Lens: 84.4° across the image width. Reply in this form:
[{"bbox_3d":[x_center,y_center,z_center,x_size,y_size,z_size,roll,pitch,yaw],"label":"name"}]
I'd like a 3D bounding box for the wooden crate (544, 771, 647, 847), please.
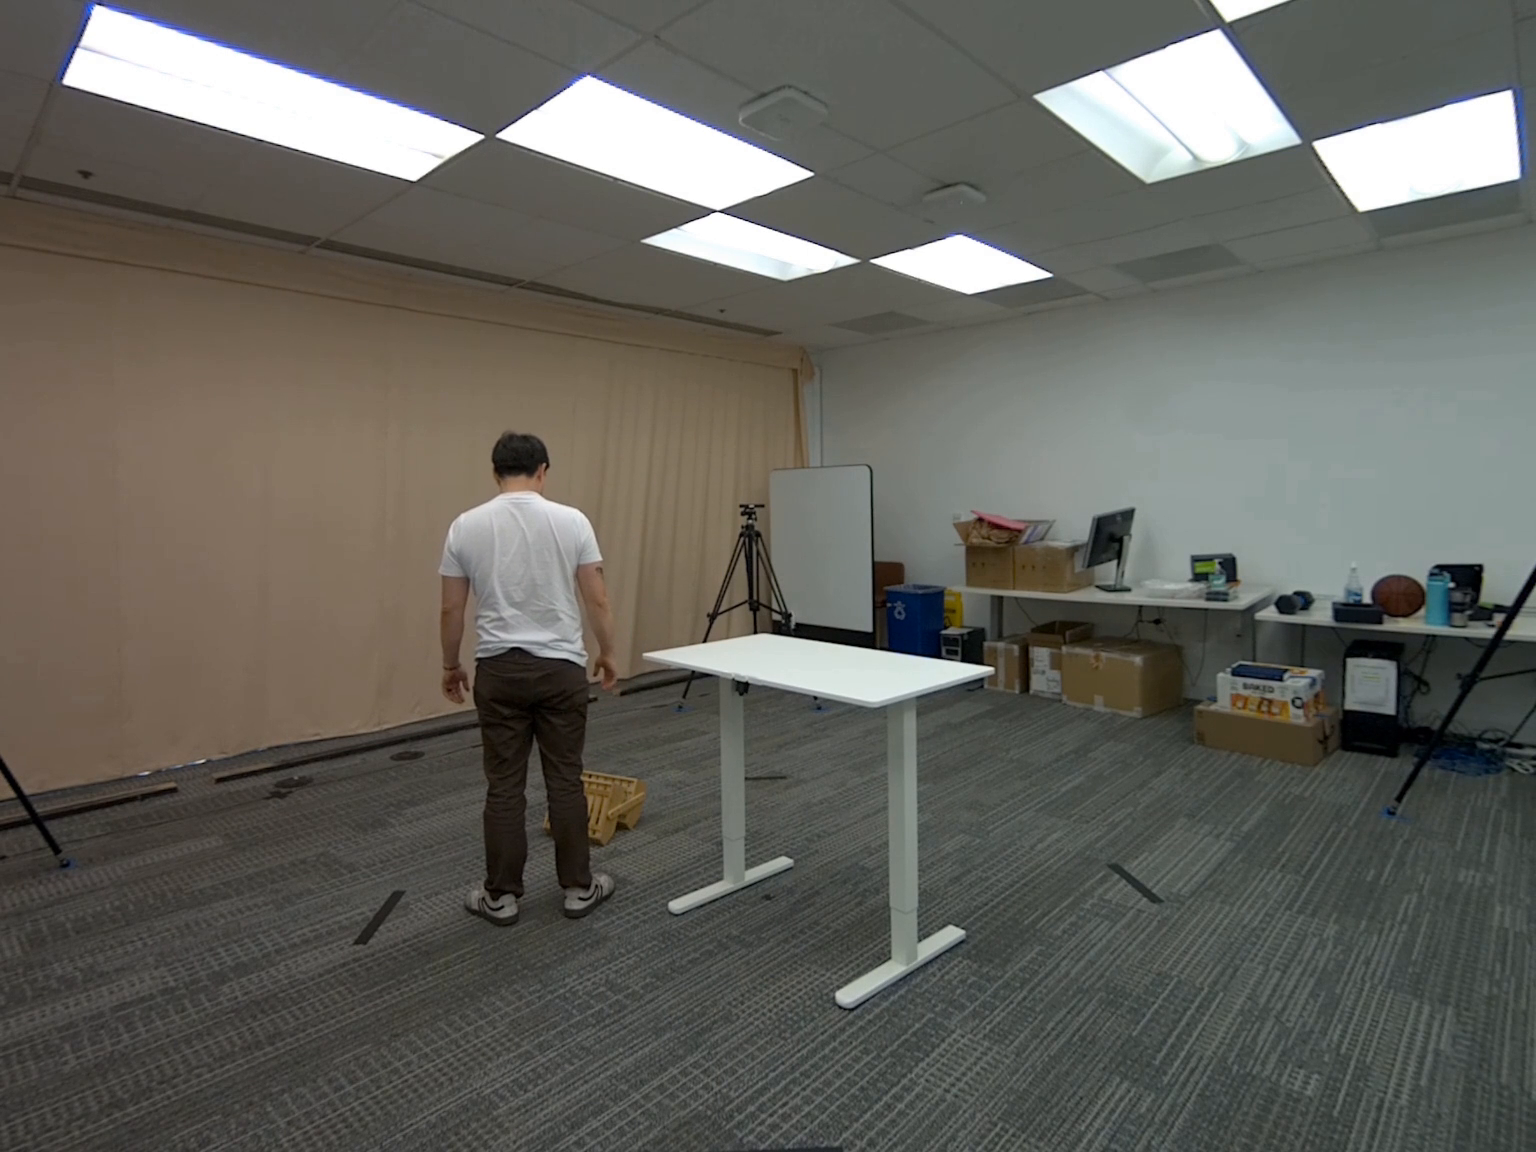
[{"bbox_3d":[-0.746,1.009,3.669,0.333,0.304,0.264,0,-24,27],"label":"wooden crate"}]
